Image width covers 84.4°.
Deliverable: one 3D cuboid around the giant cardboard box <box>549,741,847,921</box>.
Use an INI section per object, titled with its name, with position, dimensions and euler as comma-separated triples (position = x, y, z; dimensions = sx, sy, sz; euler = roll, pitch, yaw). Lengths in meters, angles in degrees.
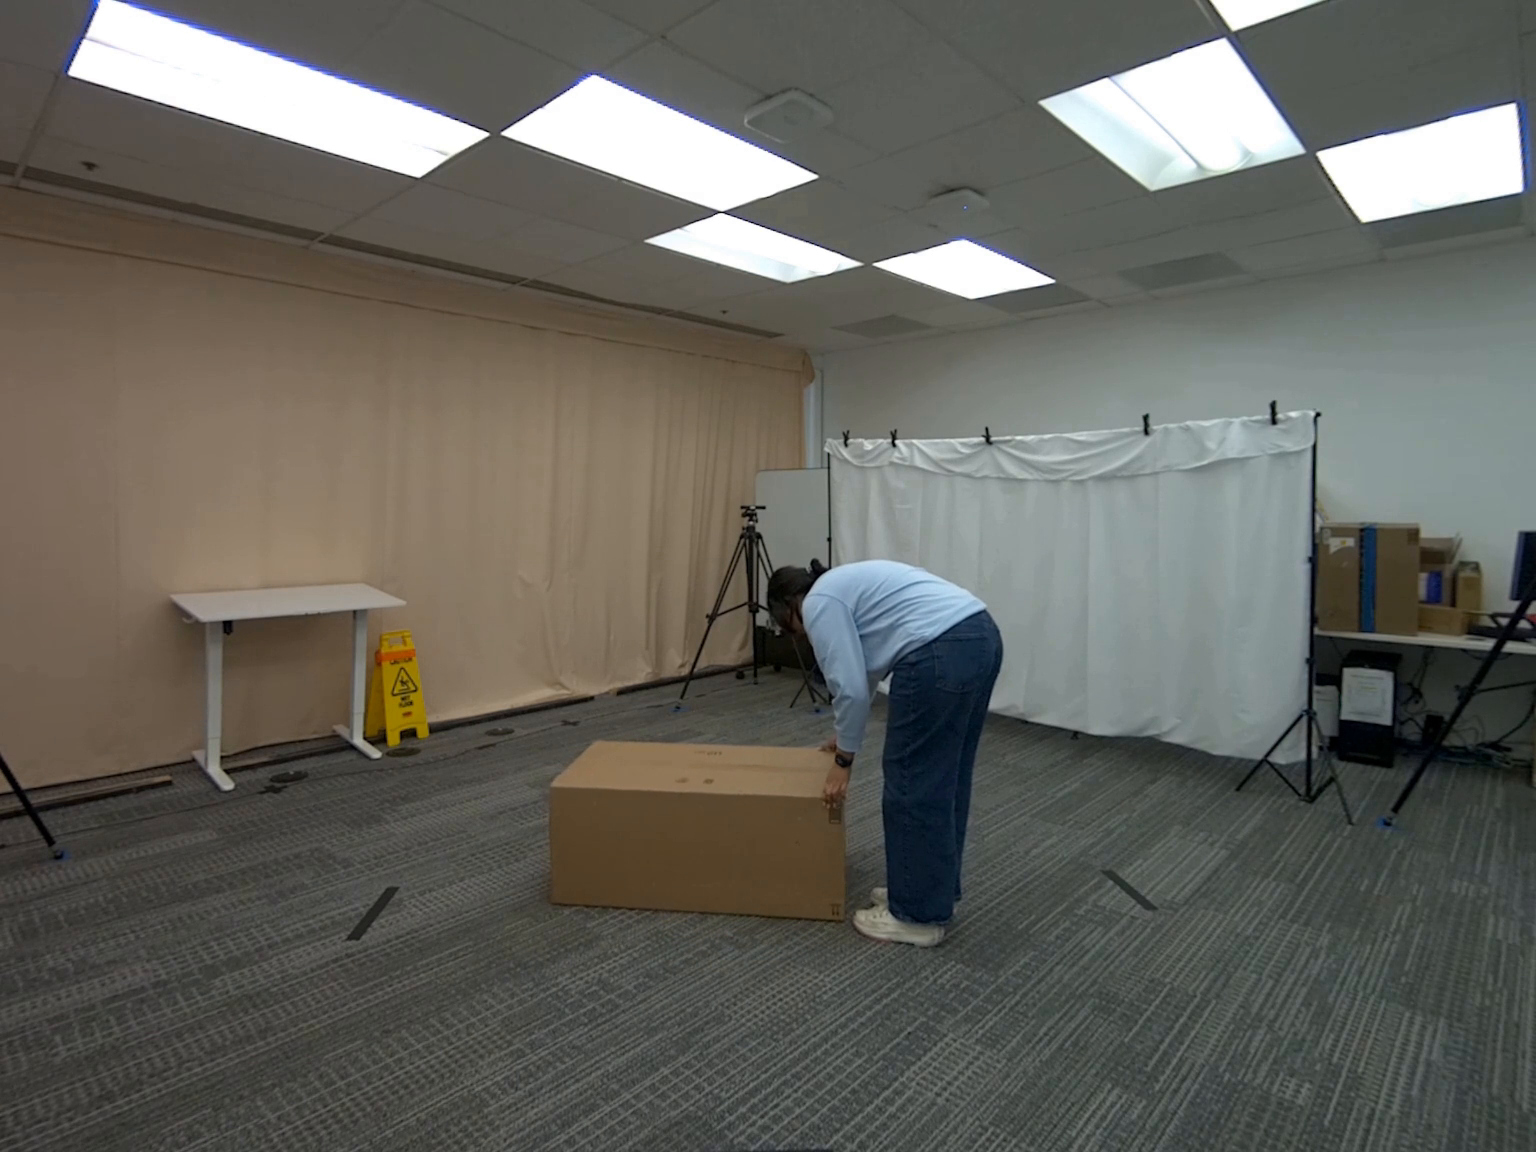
[giant cardboard box]
position = -0.237, 0.918, 3.152
dimensions = 1.035, 0.425, 0.574
euler = 1, 4, 8
